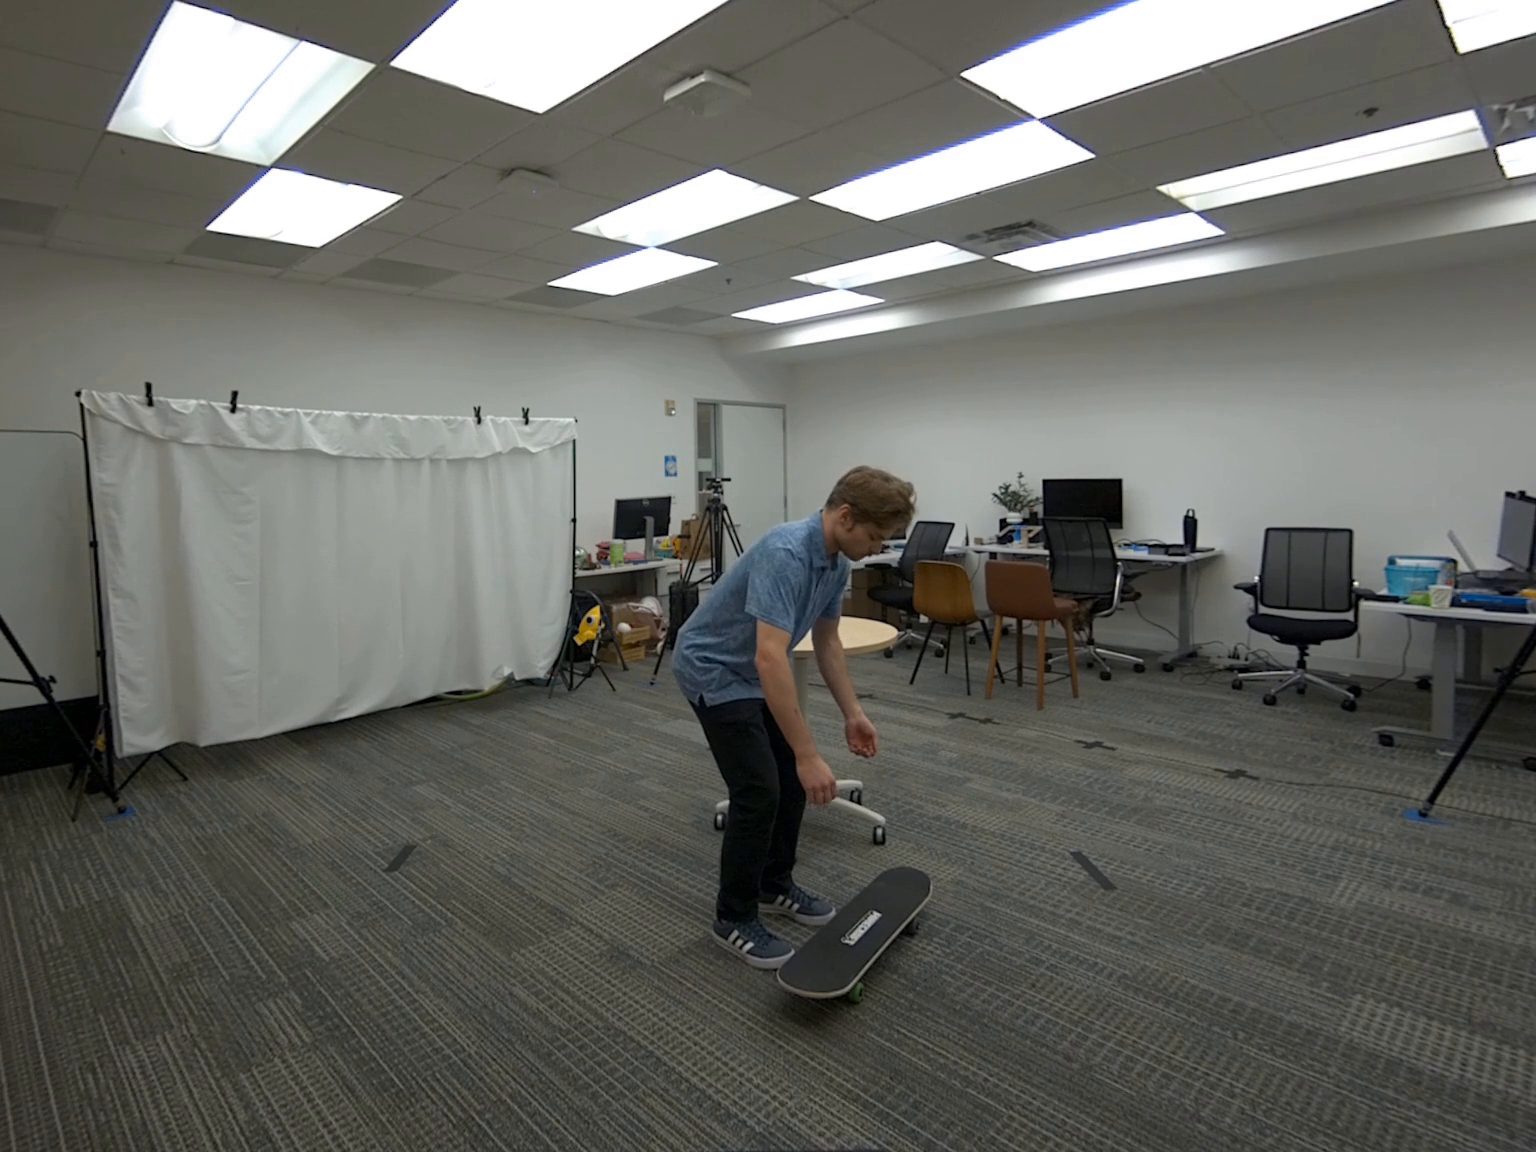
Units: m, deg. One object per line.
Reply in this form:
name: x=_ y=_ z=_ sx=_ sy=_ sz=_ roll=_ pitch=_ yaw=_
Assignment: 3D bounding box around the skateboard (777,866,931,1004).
skateboard: x=0.277 y=1.048 z=2.487 sx=0.199 sy=0.110 sz=0.769 roll=2 pitch=8 yaw=31
